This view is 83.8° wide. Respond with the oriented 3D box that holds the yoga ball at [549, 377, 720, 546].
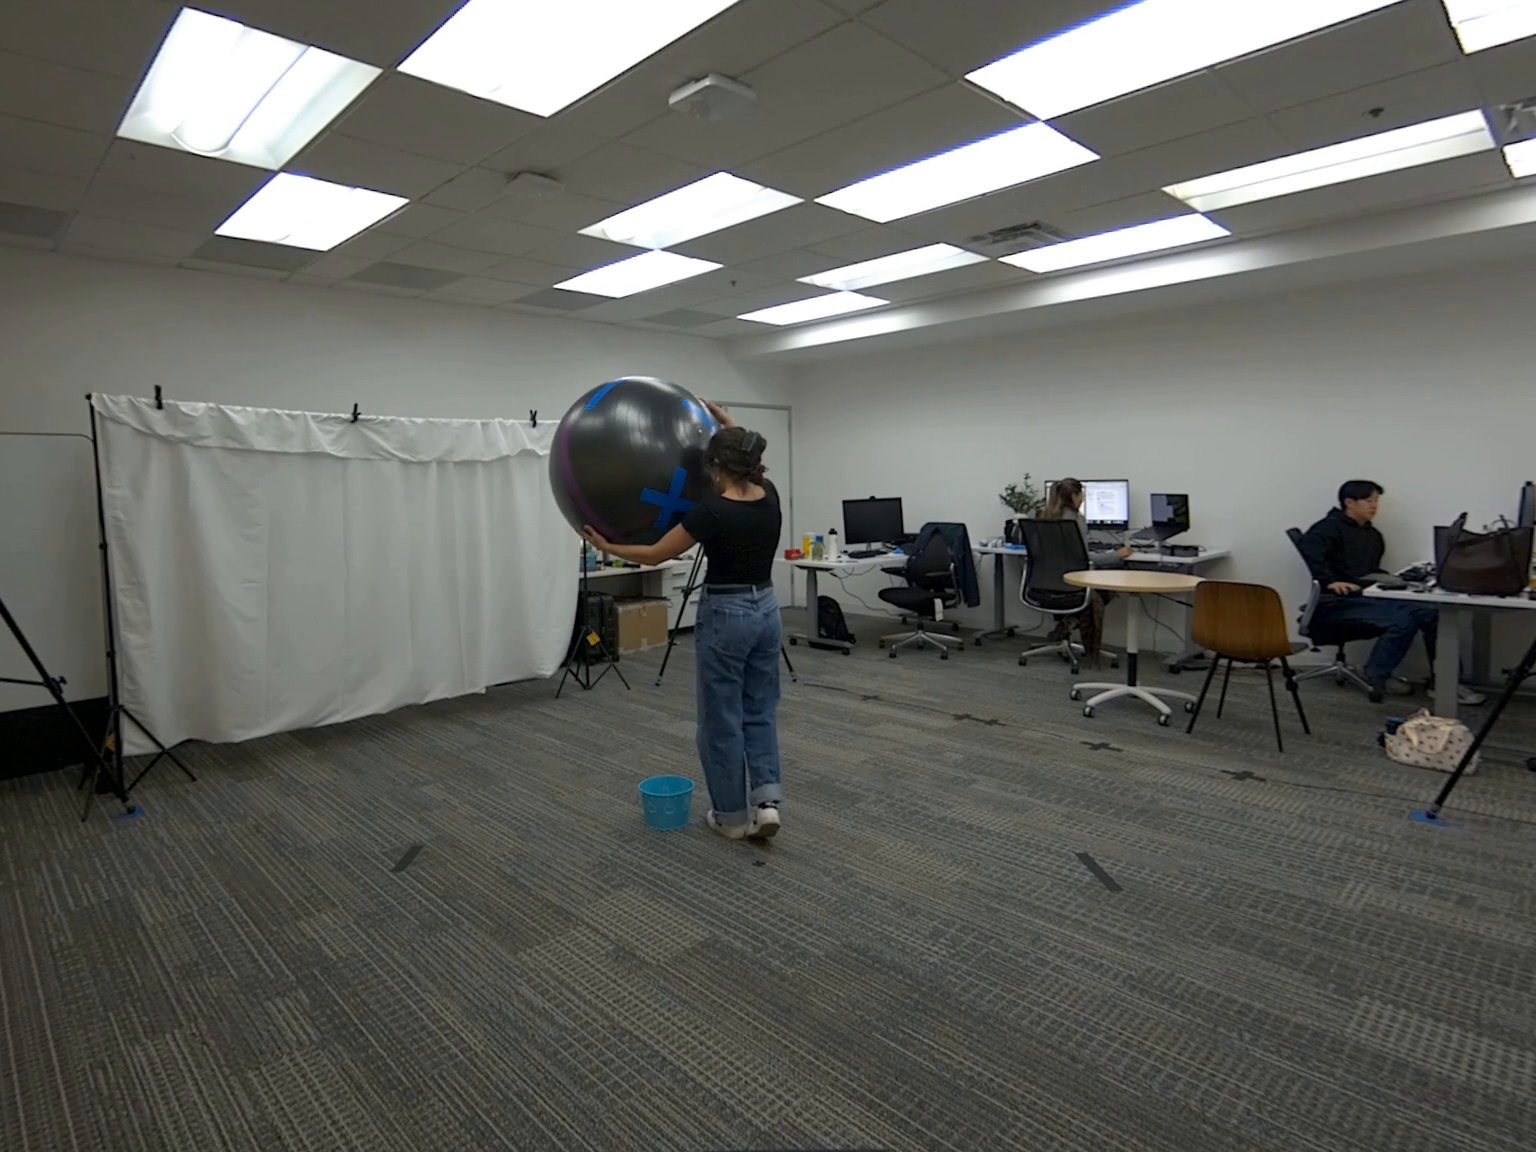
[{"bbox_3d":[-0.541,-0.445,3.600,0.757,0.755,0.762,-1,5,-2],"label":"yoga ball"}]
